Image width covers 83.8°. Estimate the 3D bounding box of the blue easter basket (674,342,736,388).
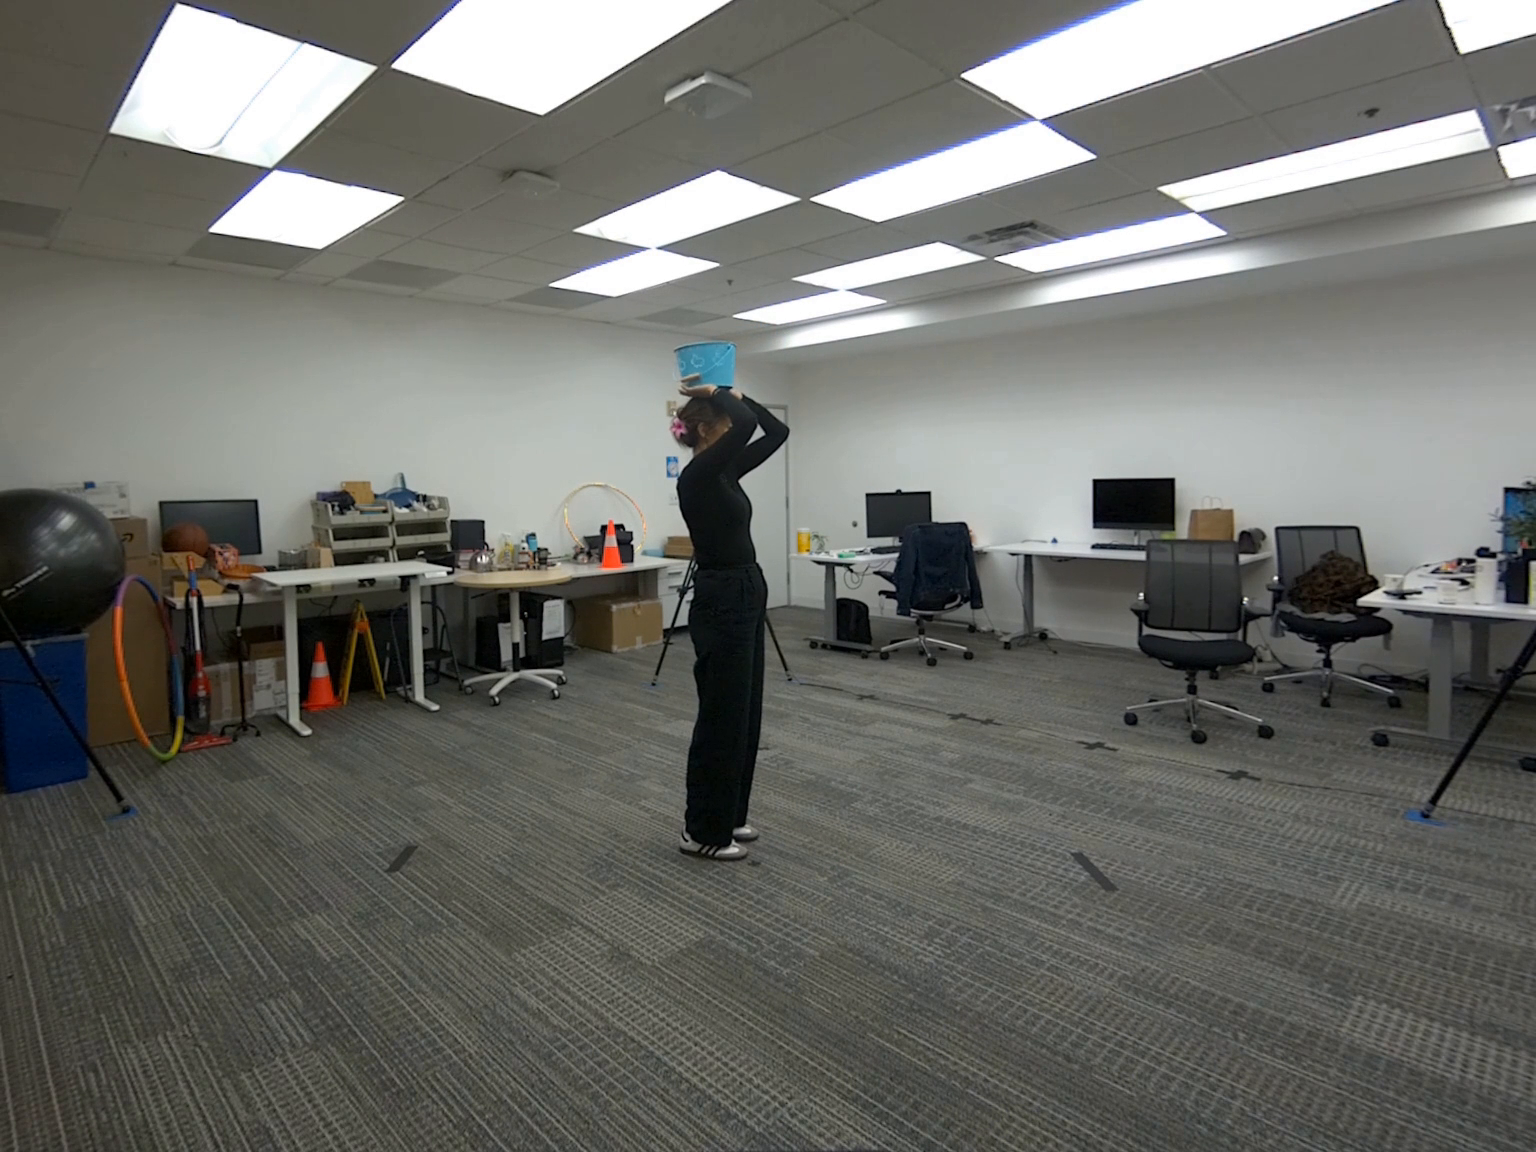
[{"bbox_3d":[-0.231,-0.753,3.121,0.243,0.155,0.245,-6,5,-1],"label":"blue easter basket"}]
